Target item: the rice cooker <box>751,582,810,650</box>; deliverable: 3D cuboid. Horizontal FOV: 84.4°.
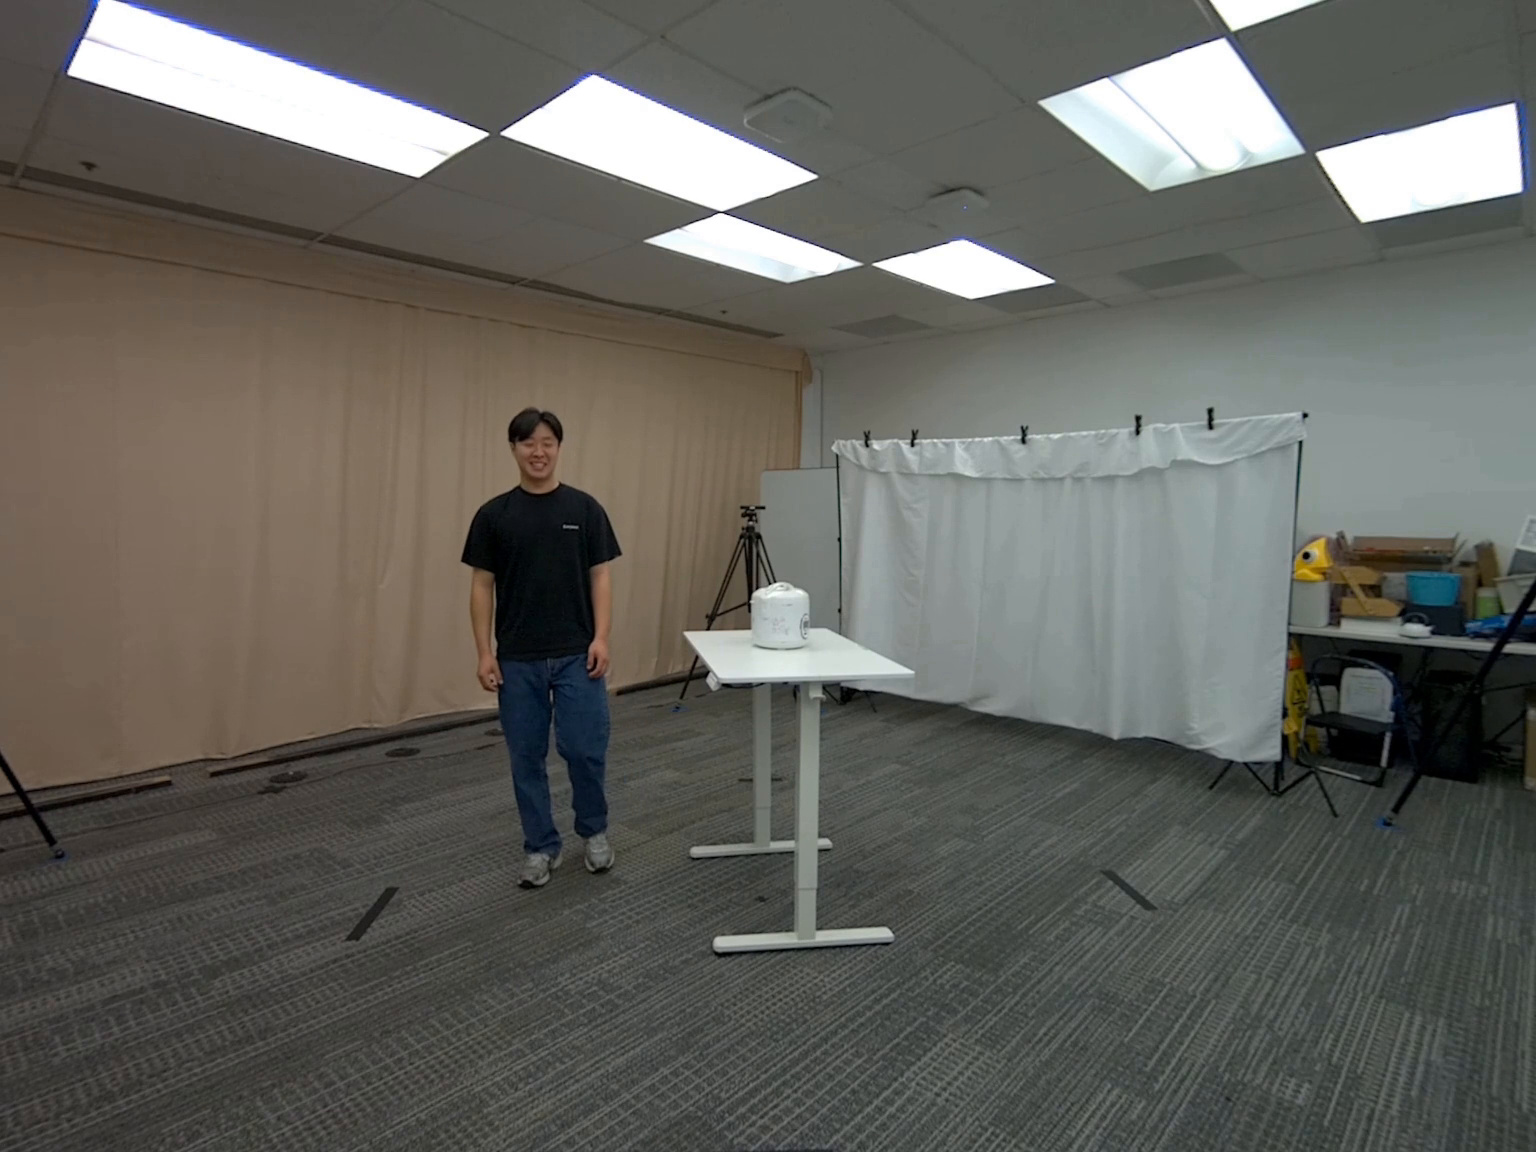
[{"bbox_3d":[0.050,0.140,3.052,0.224,0.232,0.214,0,3,35],"label":"rice cooker"}]
